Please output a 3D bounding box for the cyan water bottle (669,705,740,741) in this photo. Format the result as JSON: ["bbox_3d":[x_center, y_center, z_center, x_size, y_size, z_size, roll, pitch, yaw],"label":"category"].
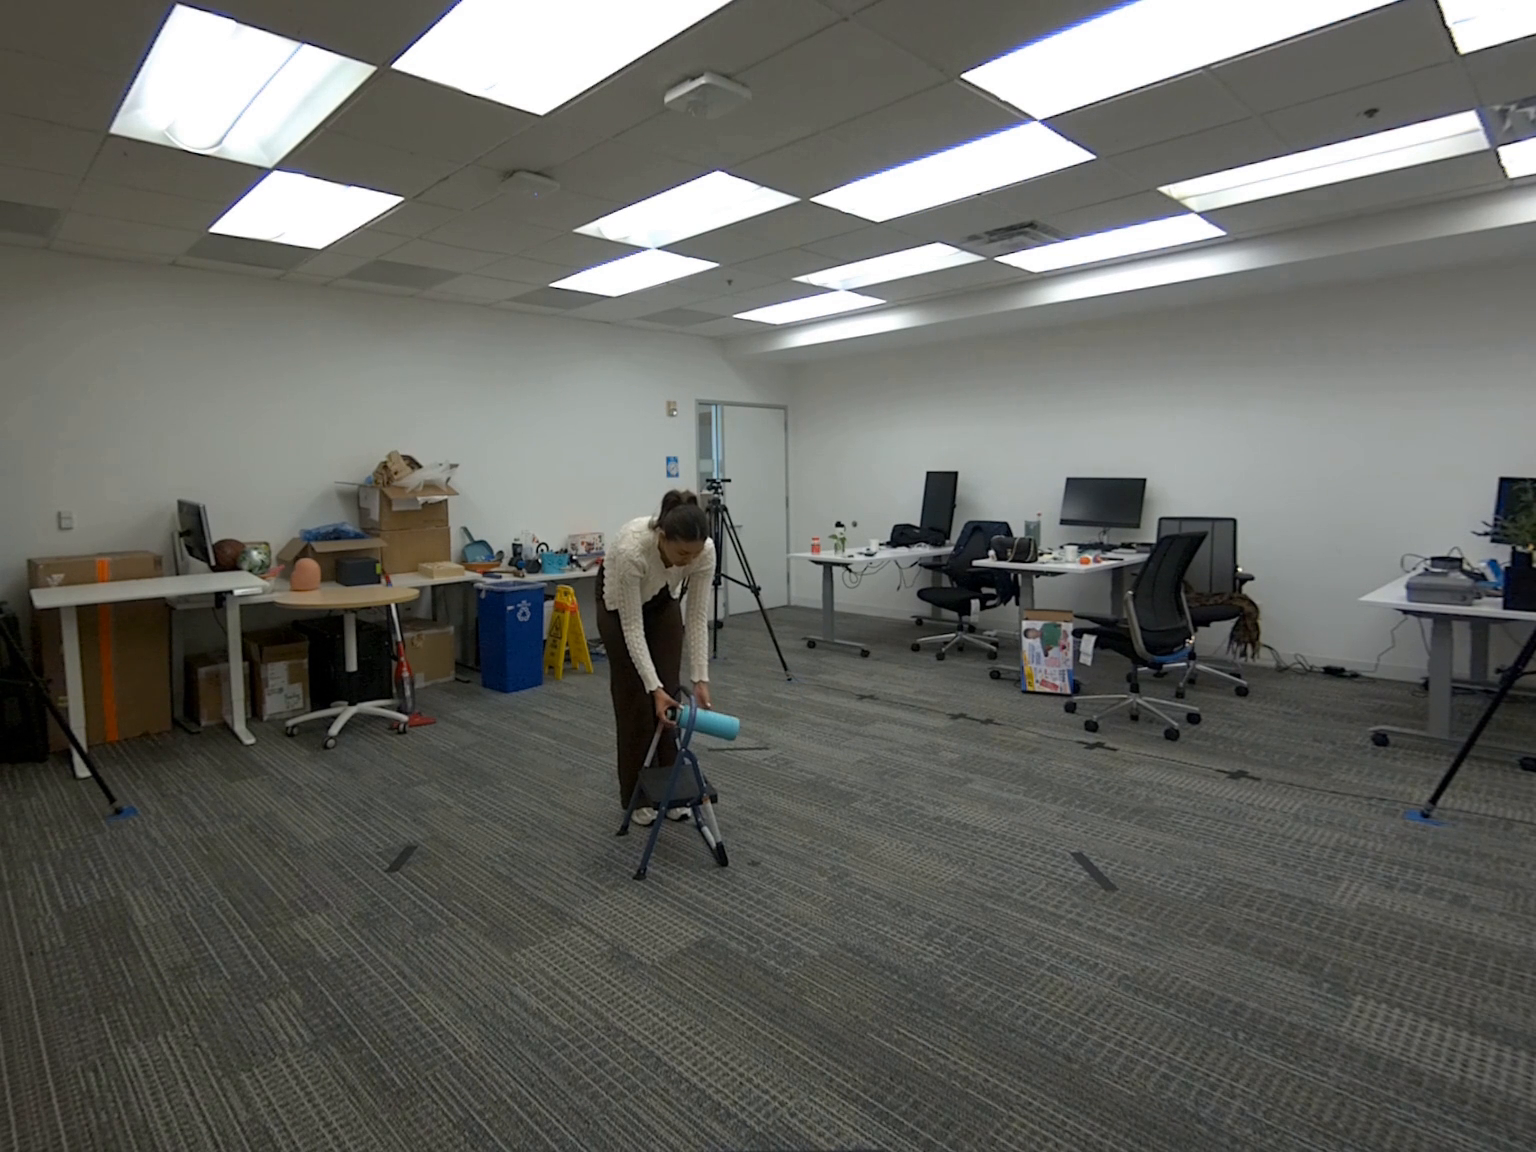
[{"bbox_3d":[-0.258,0.553,3.276,0.281,0.092,0.093,16,3,-6],"label":"cyan water bottle"}]
